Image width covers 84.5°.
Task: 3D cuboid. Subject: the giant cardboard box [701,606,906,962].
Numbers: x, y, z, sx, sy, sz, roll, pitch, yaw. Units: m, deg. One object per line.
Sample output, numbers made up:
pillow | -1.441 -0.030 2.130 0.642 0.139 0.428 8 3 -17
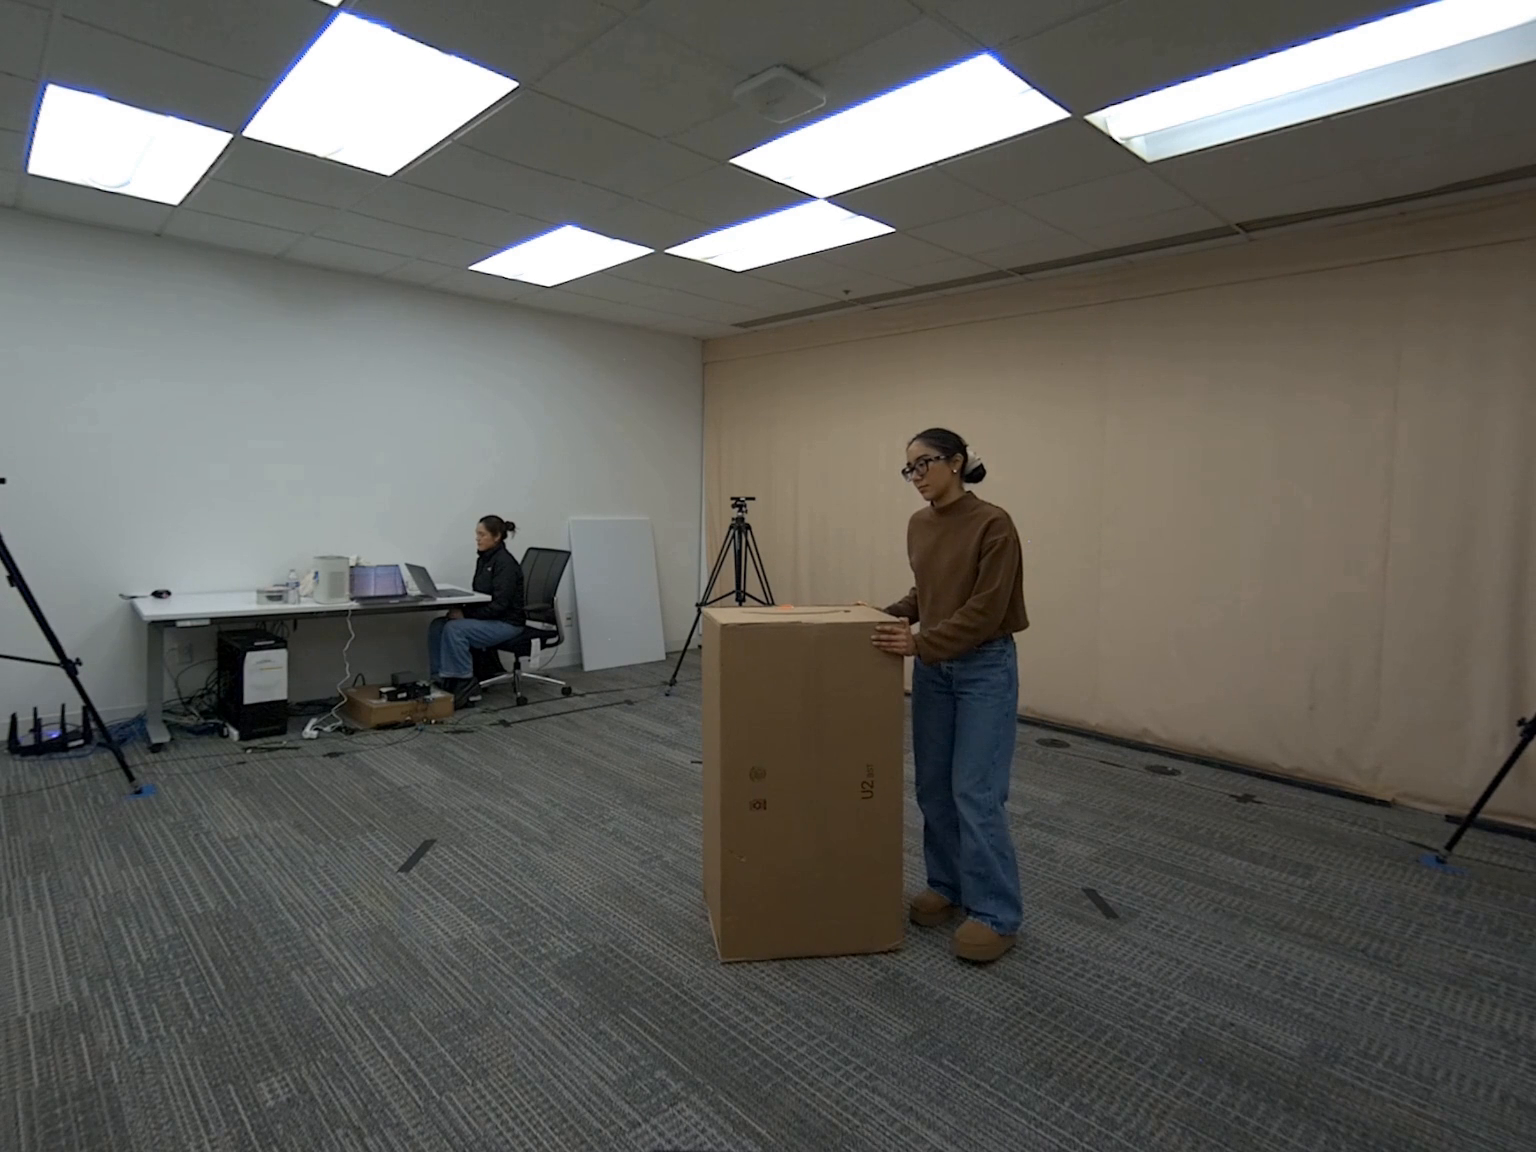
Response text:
giant cardboard box | 0.089 0.628 2.745 0.573 1.023 0.430 -1 3 -9
